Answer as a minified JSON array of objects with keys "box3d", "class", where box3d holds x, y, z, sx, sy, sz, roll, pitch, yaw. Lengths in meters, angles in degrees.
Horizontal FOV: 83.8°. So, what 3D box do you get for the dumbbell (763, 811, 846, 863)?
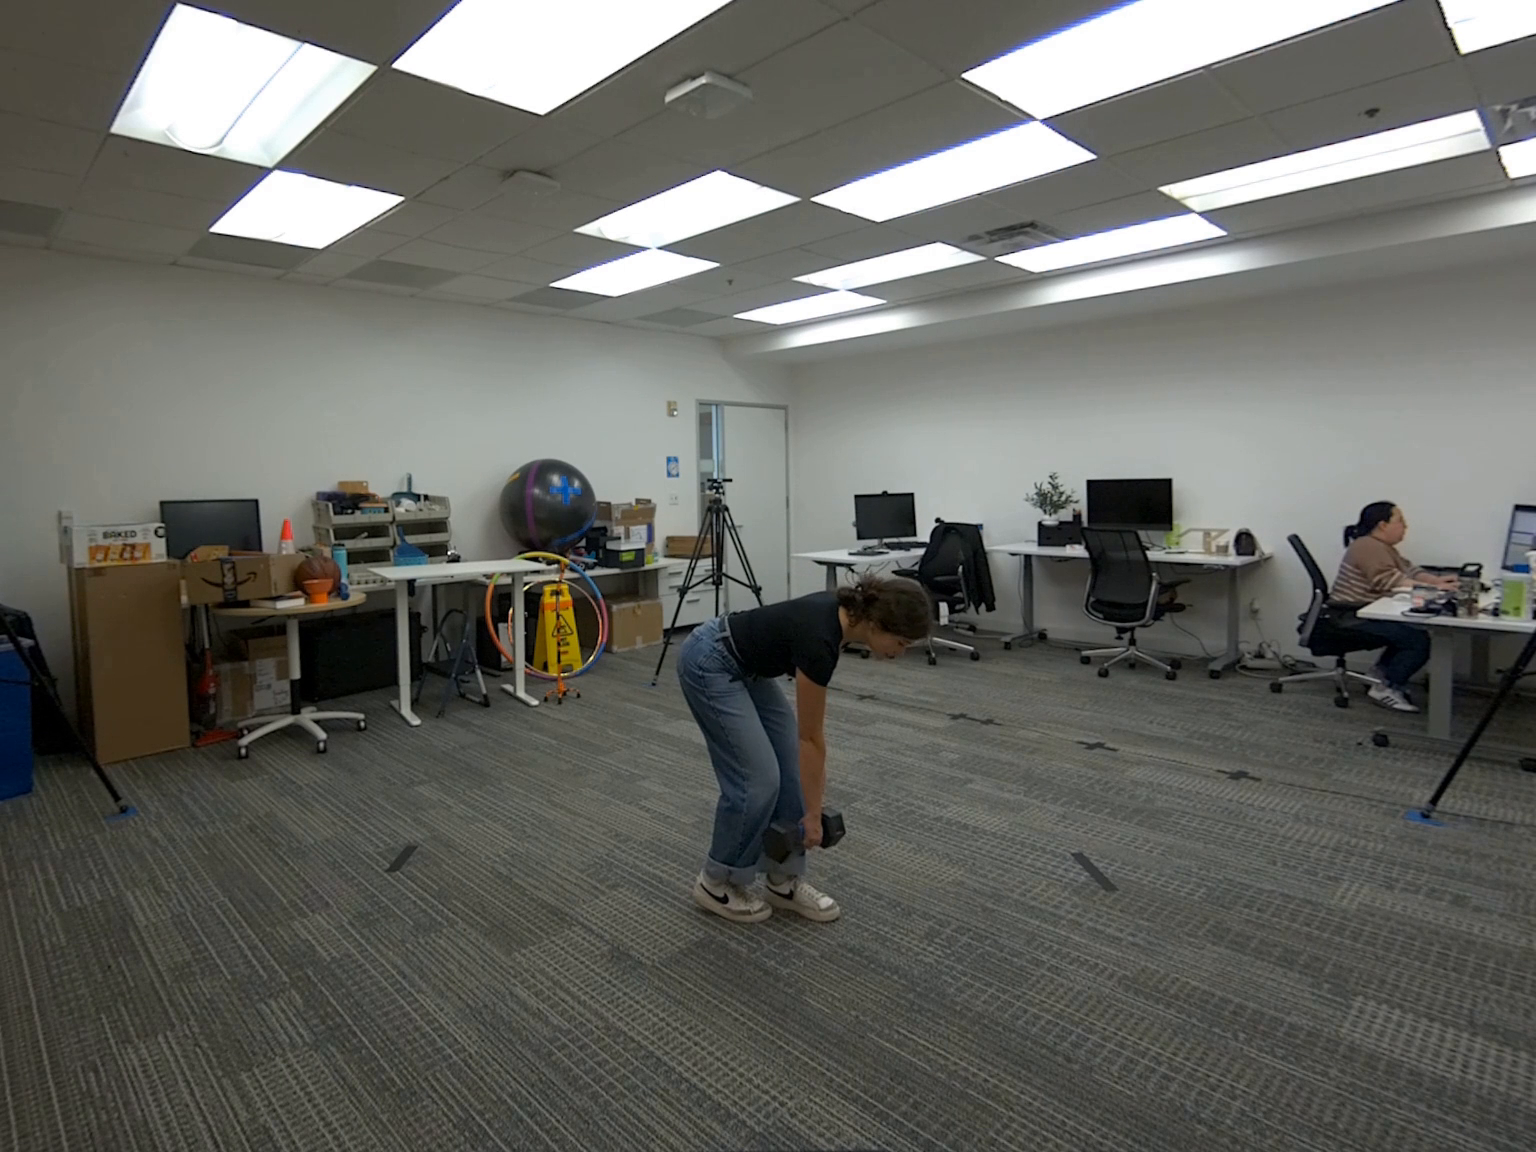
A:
[{"box3d":[0.106,0.792,2.642,0.285,0.122,0.112,0,42,-49],"class":"dumbbell"}]
